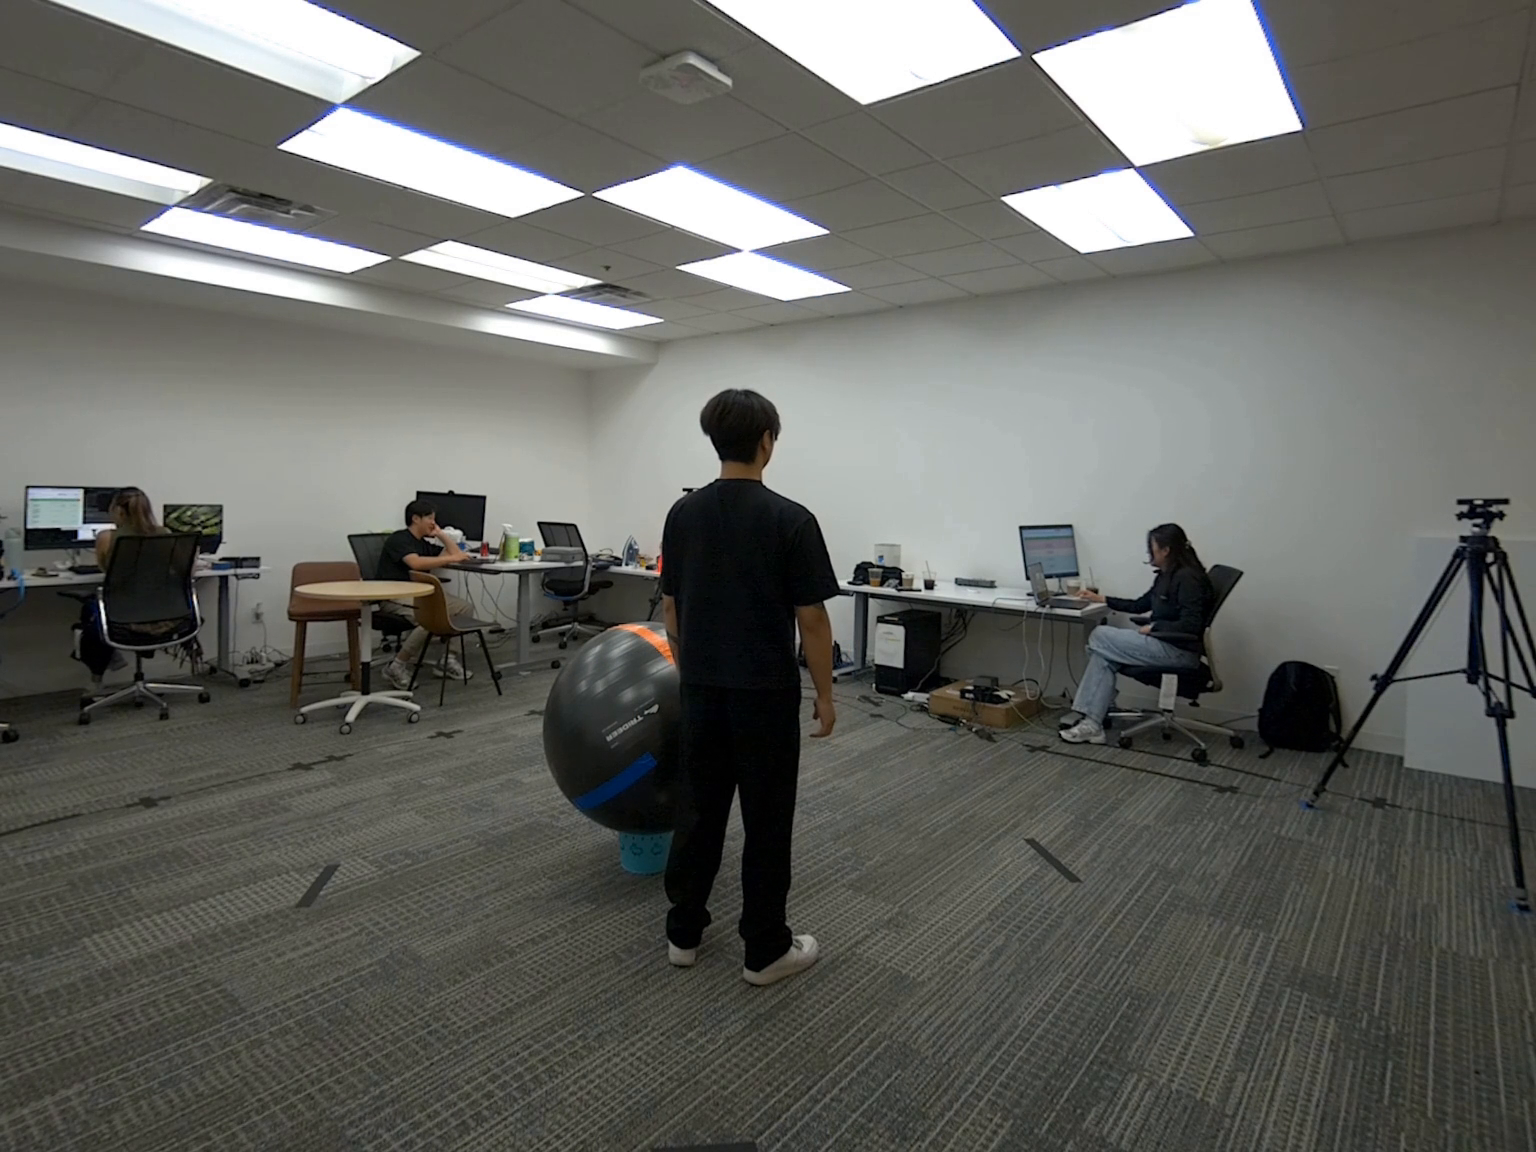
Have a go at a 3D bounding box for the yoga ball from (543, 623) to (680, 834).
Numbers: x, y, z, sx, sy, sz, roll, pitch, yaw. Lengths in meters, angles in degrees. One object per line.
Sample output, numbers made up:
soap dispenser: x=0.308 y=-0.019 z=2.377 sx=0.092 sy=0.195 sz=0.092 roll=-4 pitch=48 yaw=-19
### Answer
yoga ball: x=-0.457 y=0.548 z=3.127 sx=0.757 sy=0.755 sz=0.762 roll=1 pitch=4 yaw=-2
